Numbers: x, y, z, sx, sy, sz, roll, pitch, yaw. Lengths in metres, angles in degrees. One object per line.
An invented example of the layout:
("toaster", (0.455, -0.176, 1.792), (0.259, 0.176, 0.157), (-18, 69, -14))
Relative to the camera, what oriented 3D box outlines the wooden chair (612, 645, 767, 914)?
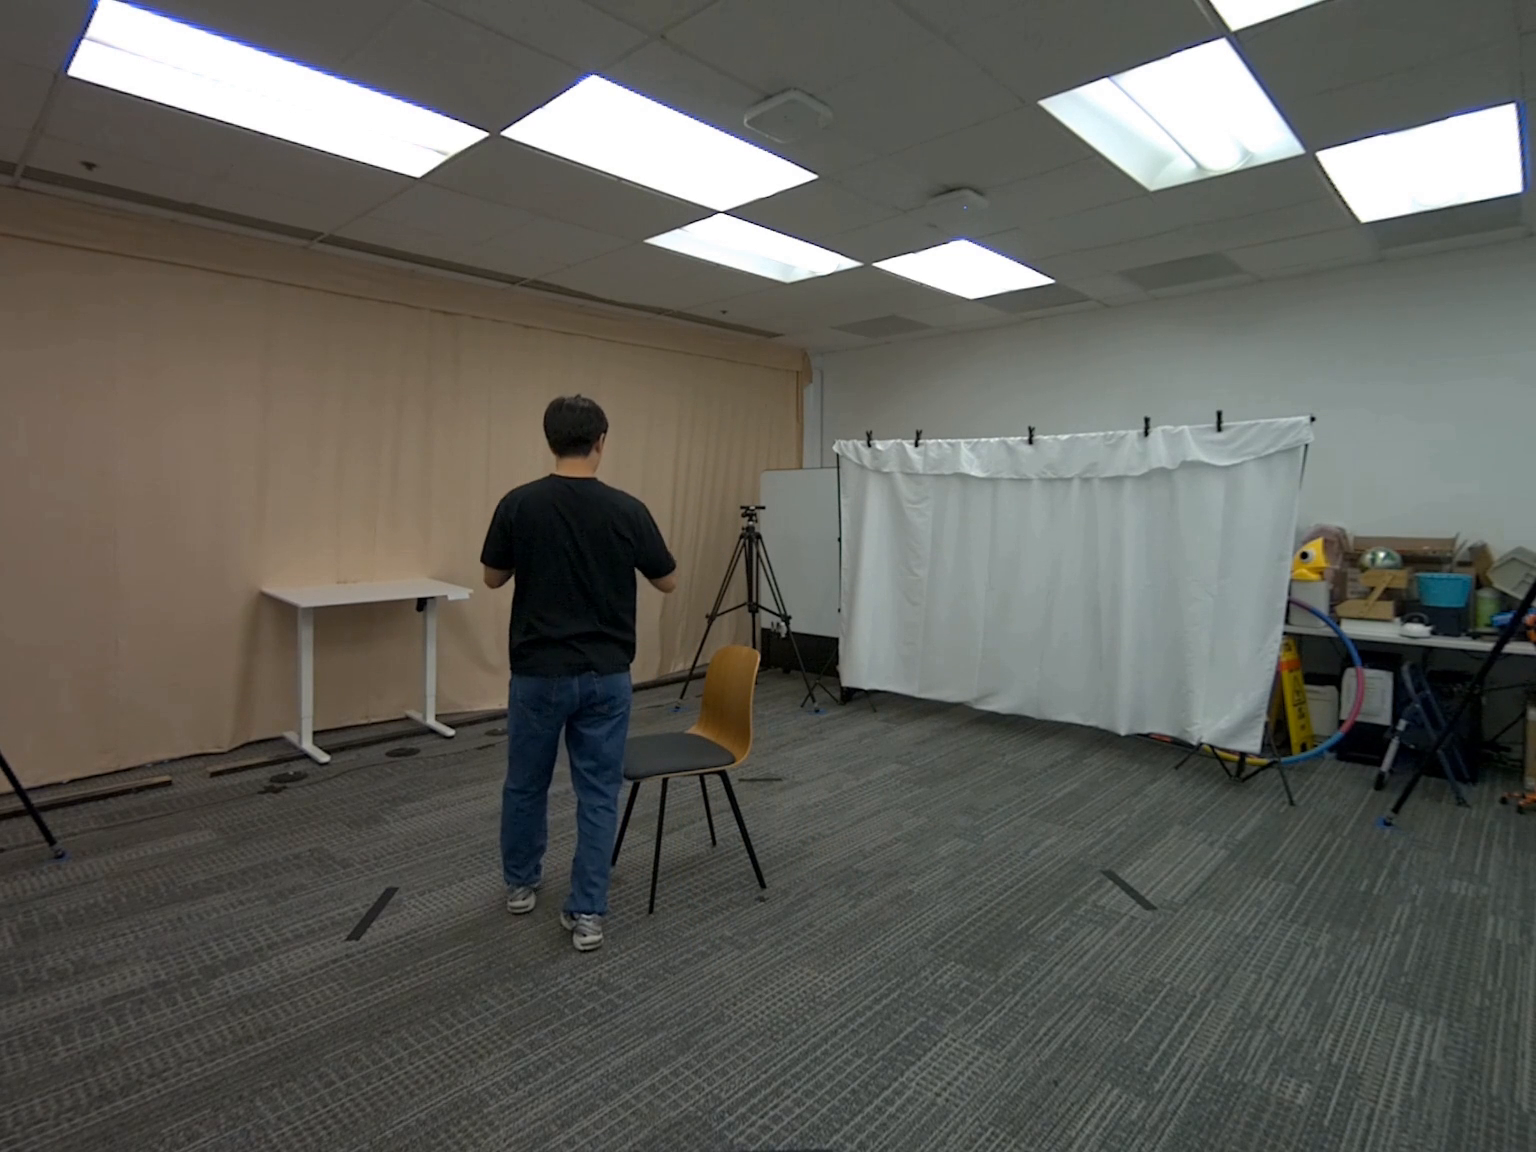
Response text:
("wooden chair", (-0.315, 0.707, 3.140), (0.510, 0.876, 0.491), (2, 2, -27))
